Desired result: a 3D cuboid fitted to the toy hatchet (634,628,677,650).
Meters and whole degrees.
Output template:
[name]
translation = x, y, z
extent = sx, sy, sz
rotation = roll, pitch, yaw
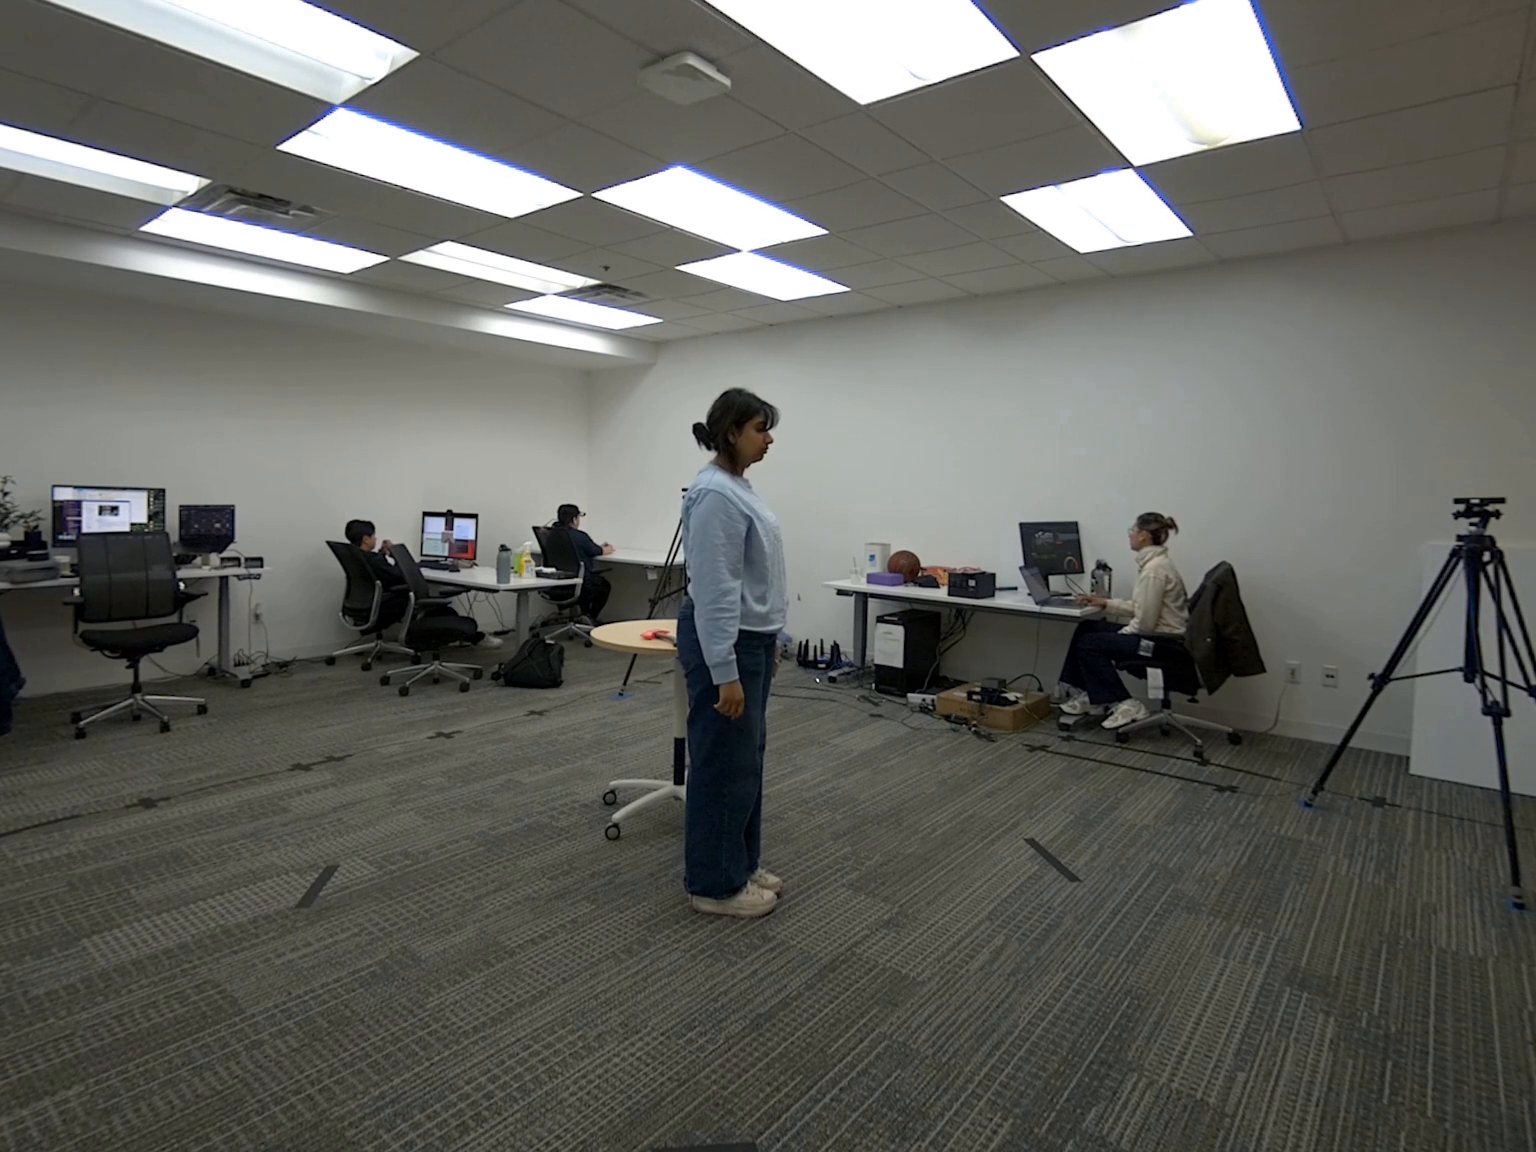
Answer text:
[toy hatchet]
translation = -0.449, 0.245, 3.343
extent = 0.129, 0.029, 0.276
rotation = -1, 7, -16
